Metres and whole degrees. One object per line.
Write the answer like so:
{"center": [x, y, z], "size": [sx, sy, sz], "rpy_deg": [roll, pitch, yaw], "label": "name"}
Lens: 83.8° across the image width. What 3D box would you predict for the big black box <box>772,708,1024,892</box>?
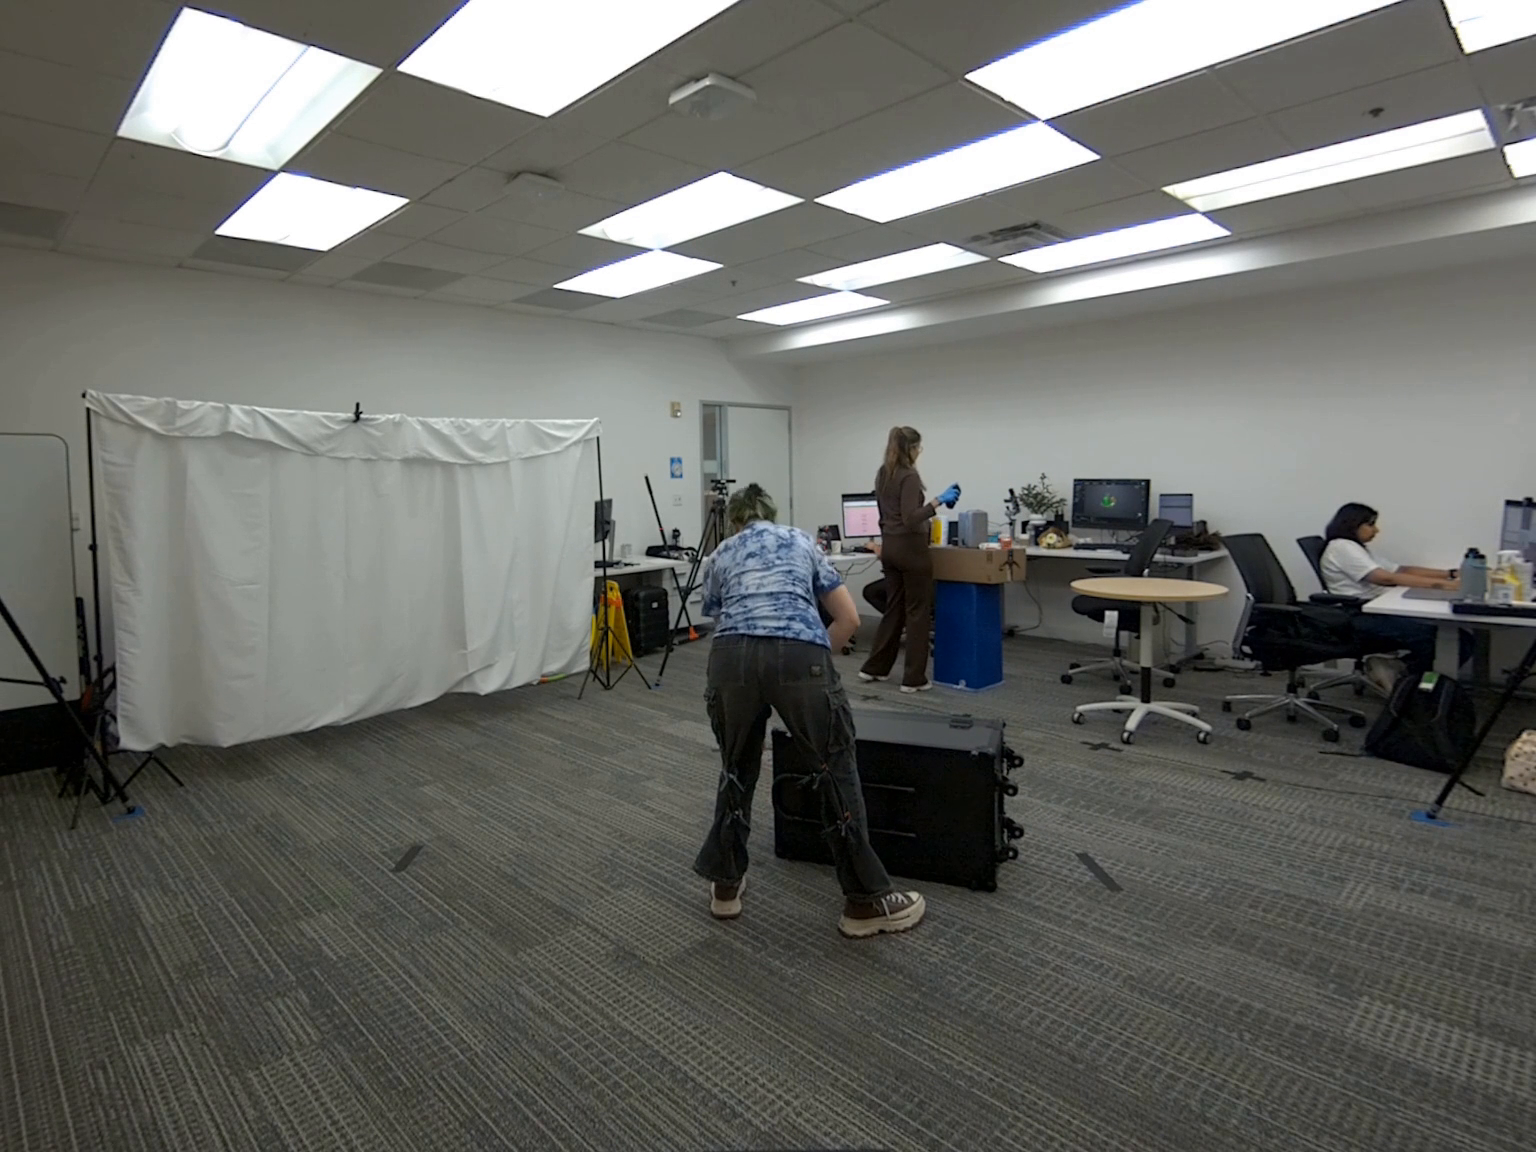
{"center": [0.471, 0.780, 3.117], "size": [0.879, 0.518, 0.390], "rpy_deg": [1, 7, 22], "label": "big black box"}
